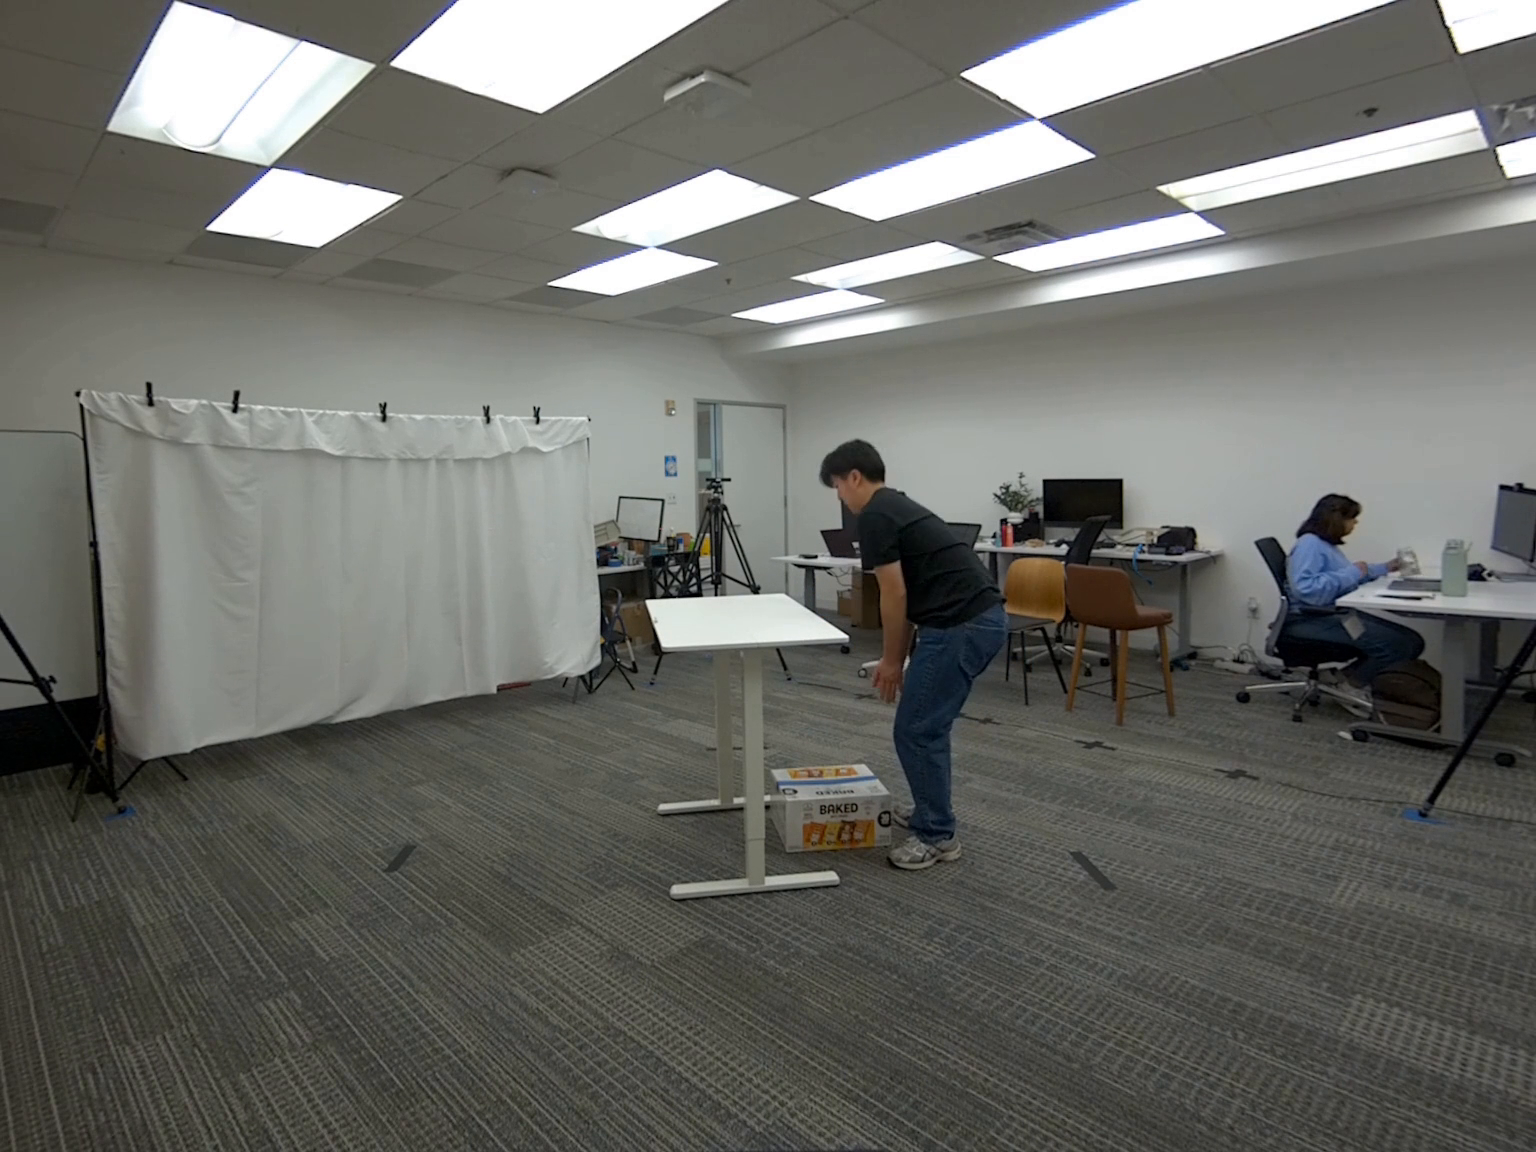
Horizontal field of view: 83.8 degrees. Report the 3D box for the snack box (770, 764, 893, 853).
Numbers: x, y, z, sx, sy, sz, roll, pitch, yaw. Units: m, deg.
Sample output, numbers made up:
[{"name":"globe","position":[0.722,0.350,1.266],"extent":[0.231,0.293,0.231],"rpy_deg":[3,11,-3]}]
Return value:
[{"name":"snack box","position":[0.242,0.907,3.361],"extent":[0.402,0.205,0.344],"rpy_deg":[-2,6,-9]}]
